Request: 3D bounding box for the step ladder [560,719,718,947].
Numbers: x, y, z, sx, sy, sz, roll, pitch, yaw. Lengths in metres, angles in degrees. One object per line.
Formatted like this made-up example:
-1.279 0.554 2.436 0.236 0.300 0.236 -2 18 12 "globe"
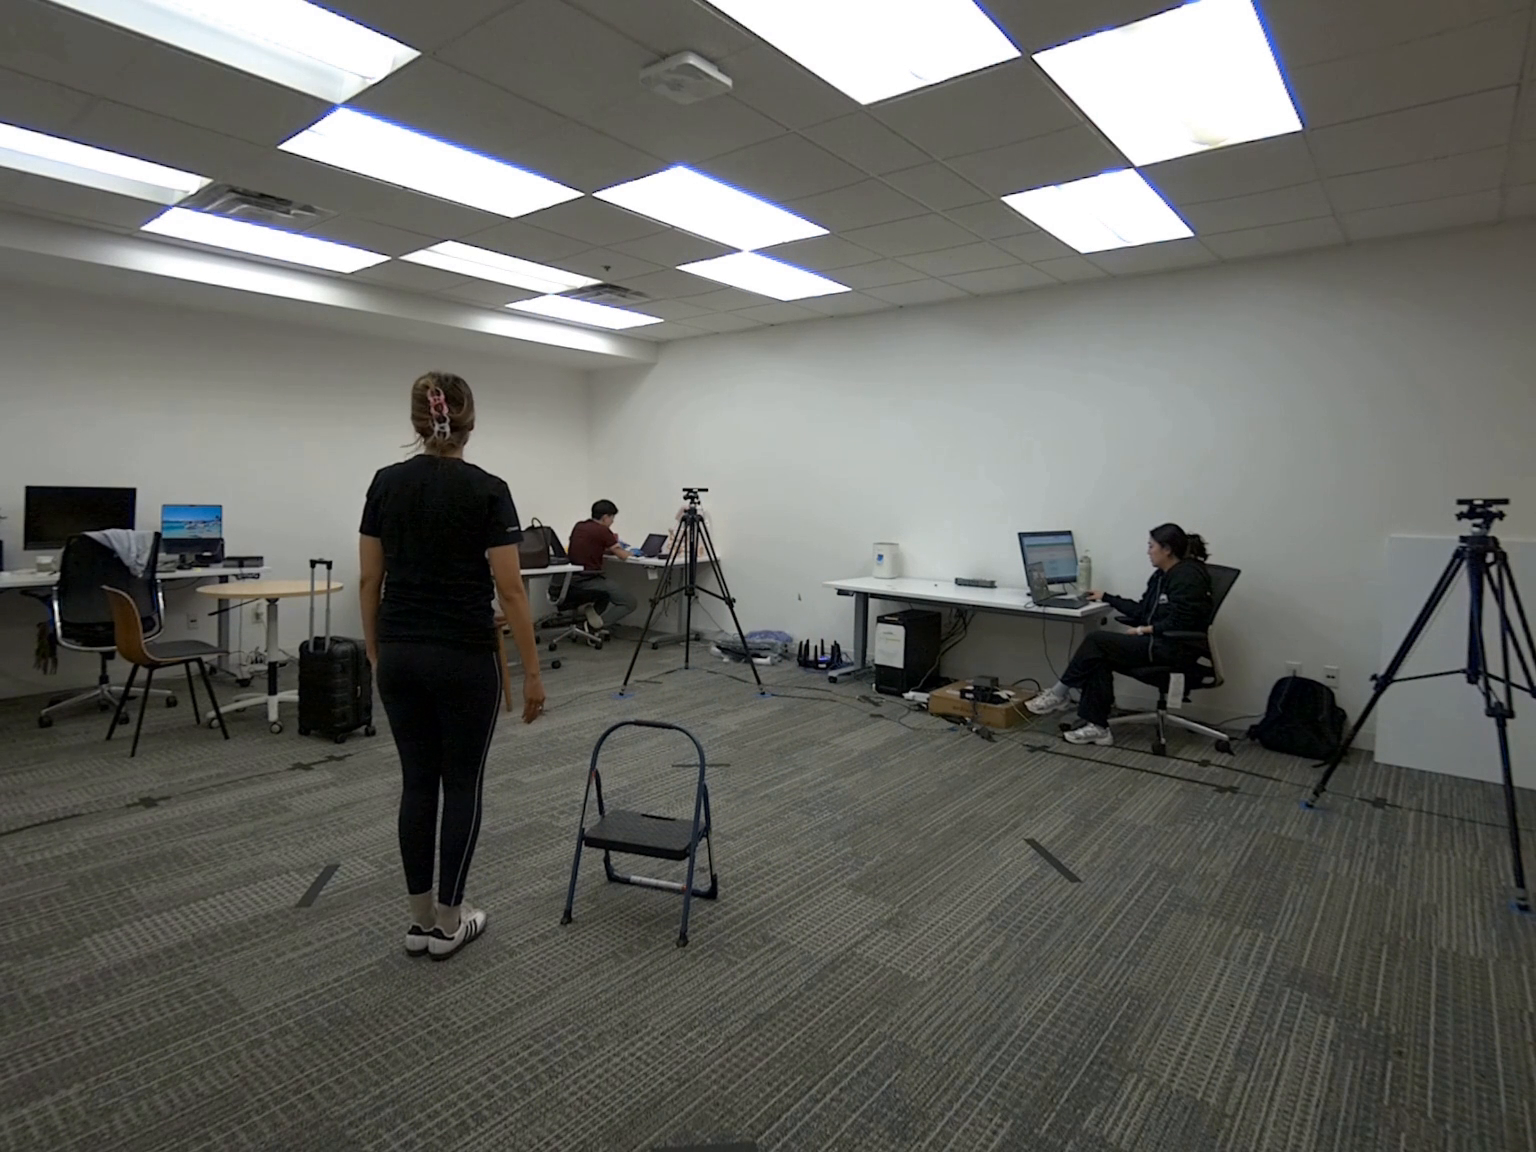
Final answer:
-0.415 0.792 2.789 0.439 0.604 0.344 2 4 17 "step ladder"
